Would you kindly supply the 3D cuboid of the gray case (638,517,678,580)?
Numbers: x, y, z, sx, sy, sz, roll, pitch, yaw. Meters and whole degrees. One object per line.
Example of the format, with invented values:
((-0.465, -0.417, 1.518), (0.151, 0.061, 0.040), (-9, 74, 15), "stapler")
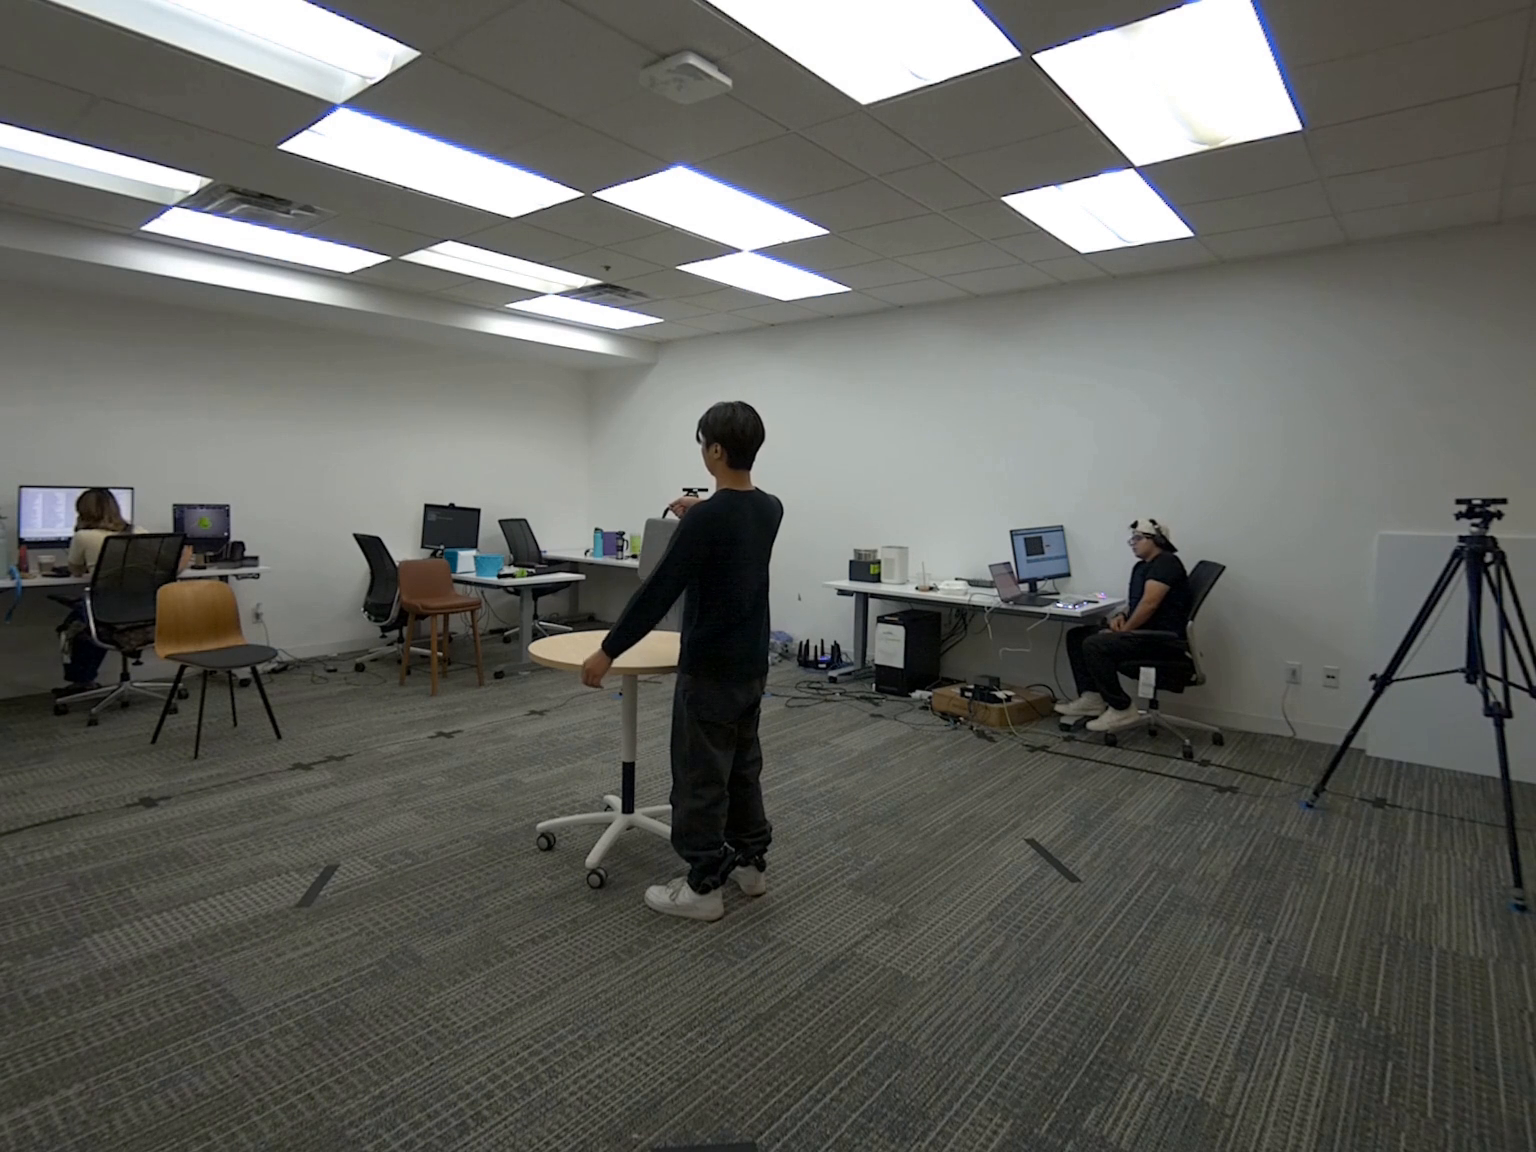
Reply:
((-0.378, -0.098, 3.300), (0.265, 0.261, 0.101), (7, -2, 29), "gray case")
